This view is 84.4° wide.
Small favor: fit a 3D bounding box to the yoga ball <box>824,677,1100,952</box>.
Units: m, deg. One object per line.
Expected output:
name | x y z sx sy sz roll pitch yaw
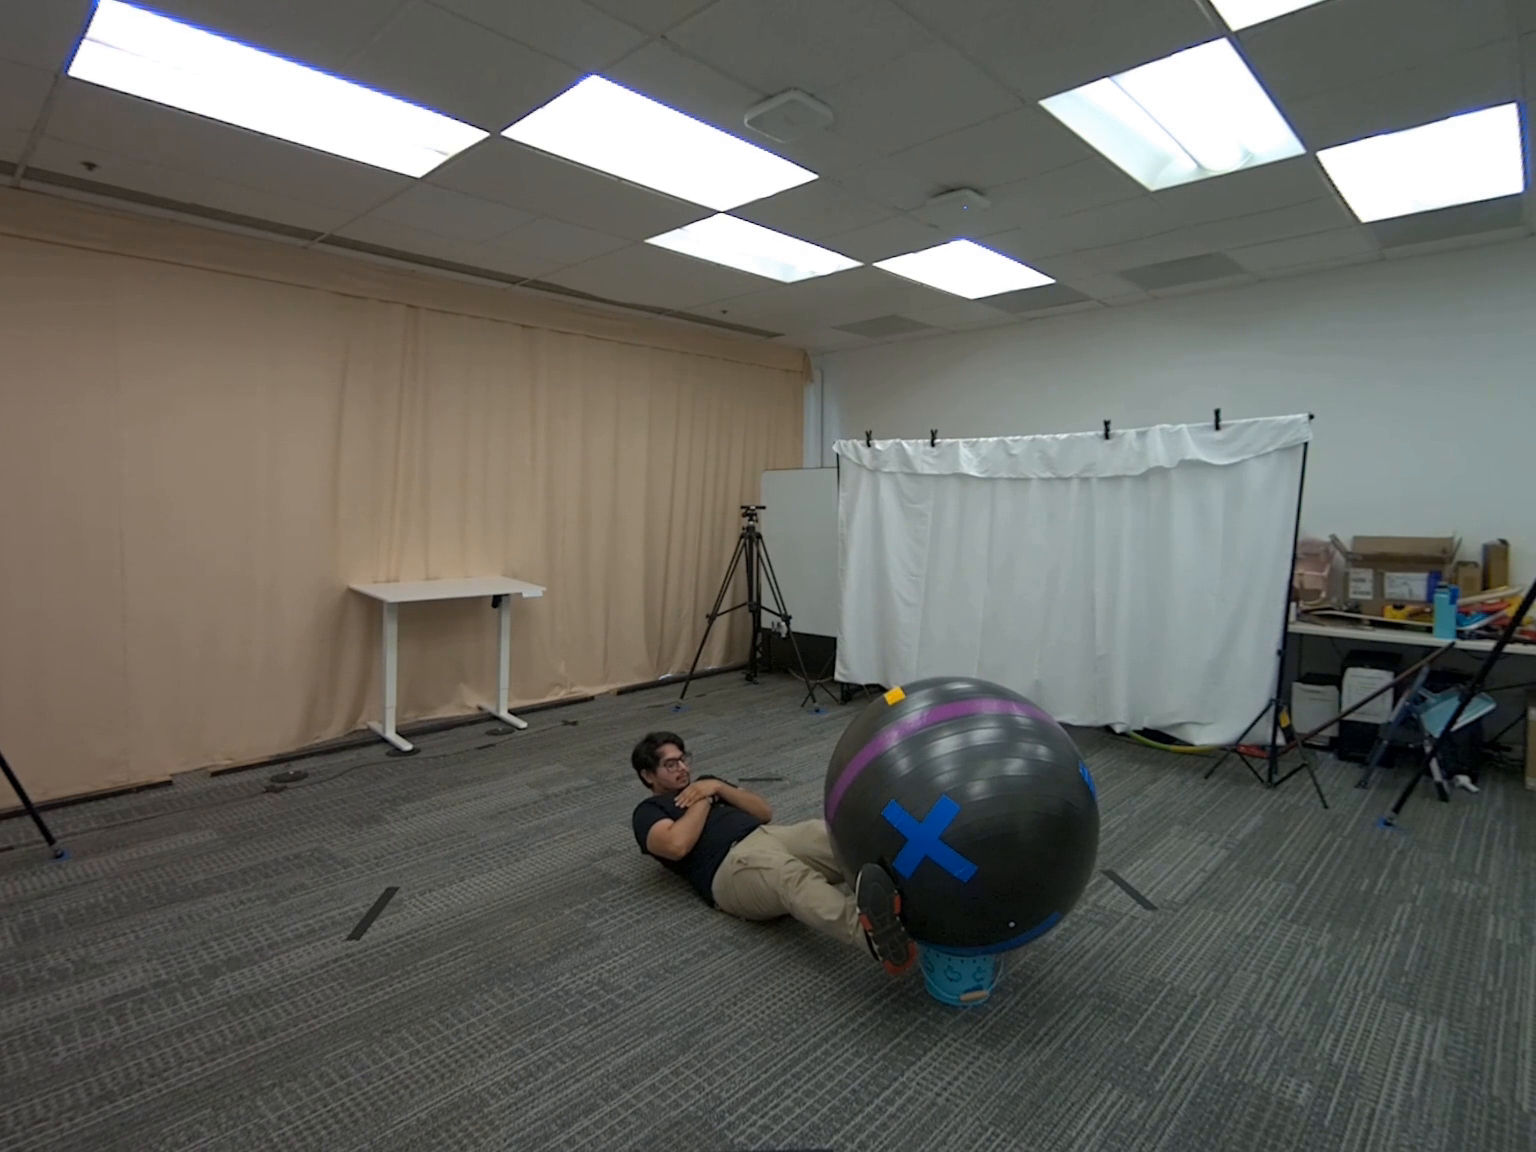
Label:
yoga ball | 0.550 0.680 2.423 0.757 0.756 0.760 0 4 -2
